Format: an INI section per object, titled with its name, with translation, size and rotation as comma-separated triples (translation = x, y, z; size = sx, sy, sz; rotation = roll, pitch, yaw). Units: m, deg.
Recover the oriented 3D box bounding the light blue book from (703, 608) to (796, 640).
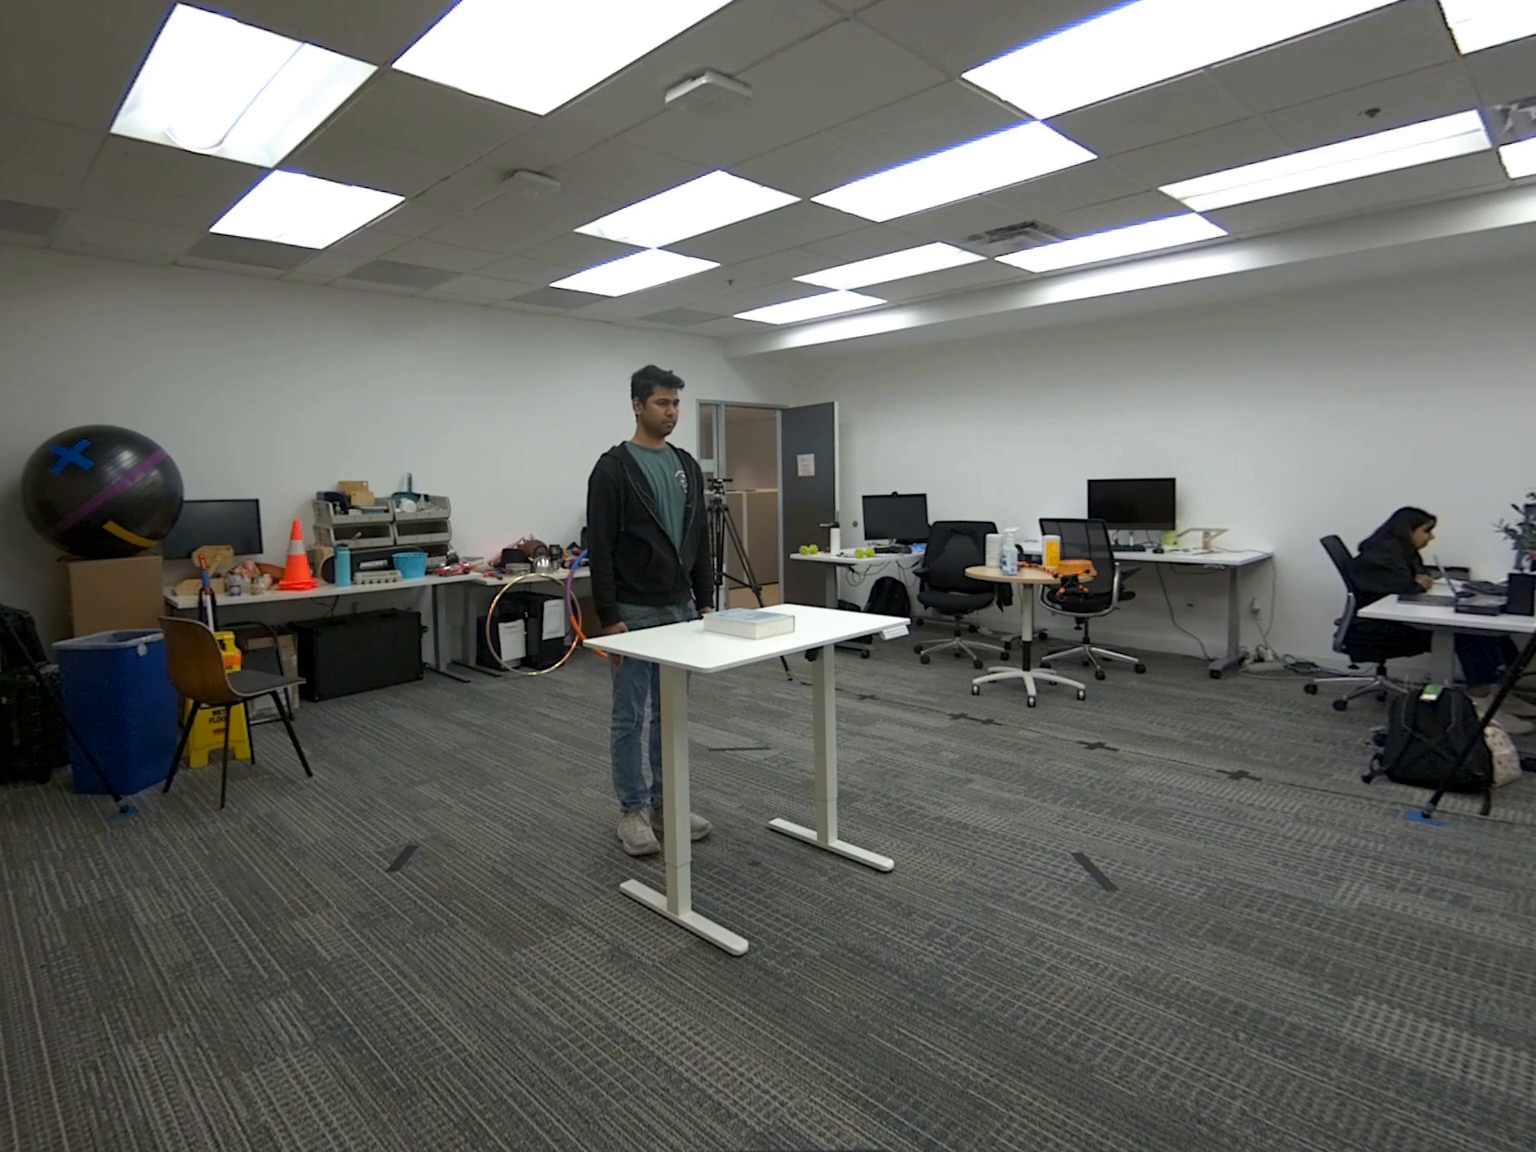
[light blue book]
translation = -0.067, 0.161, 2.880
size = 0.269, 0.059, 0.186
rotation = 5, 8, 45
